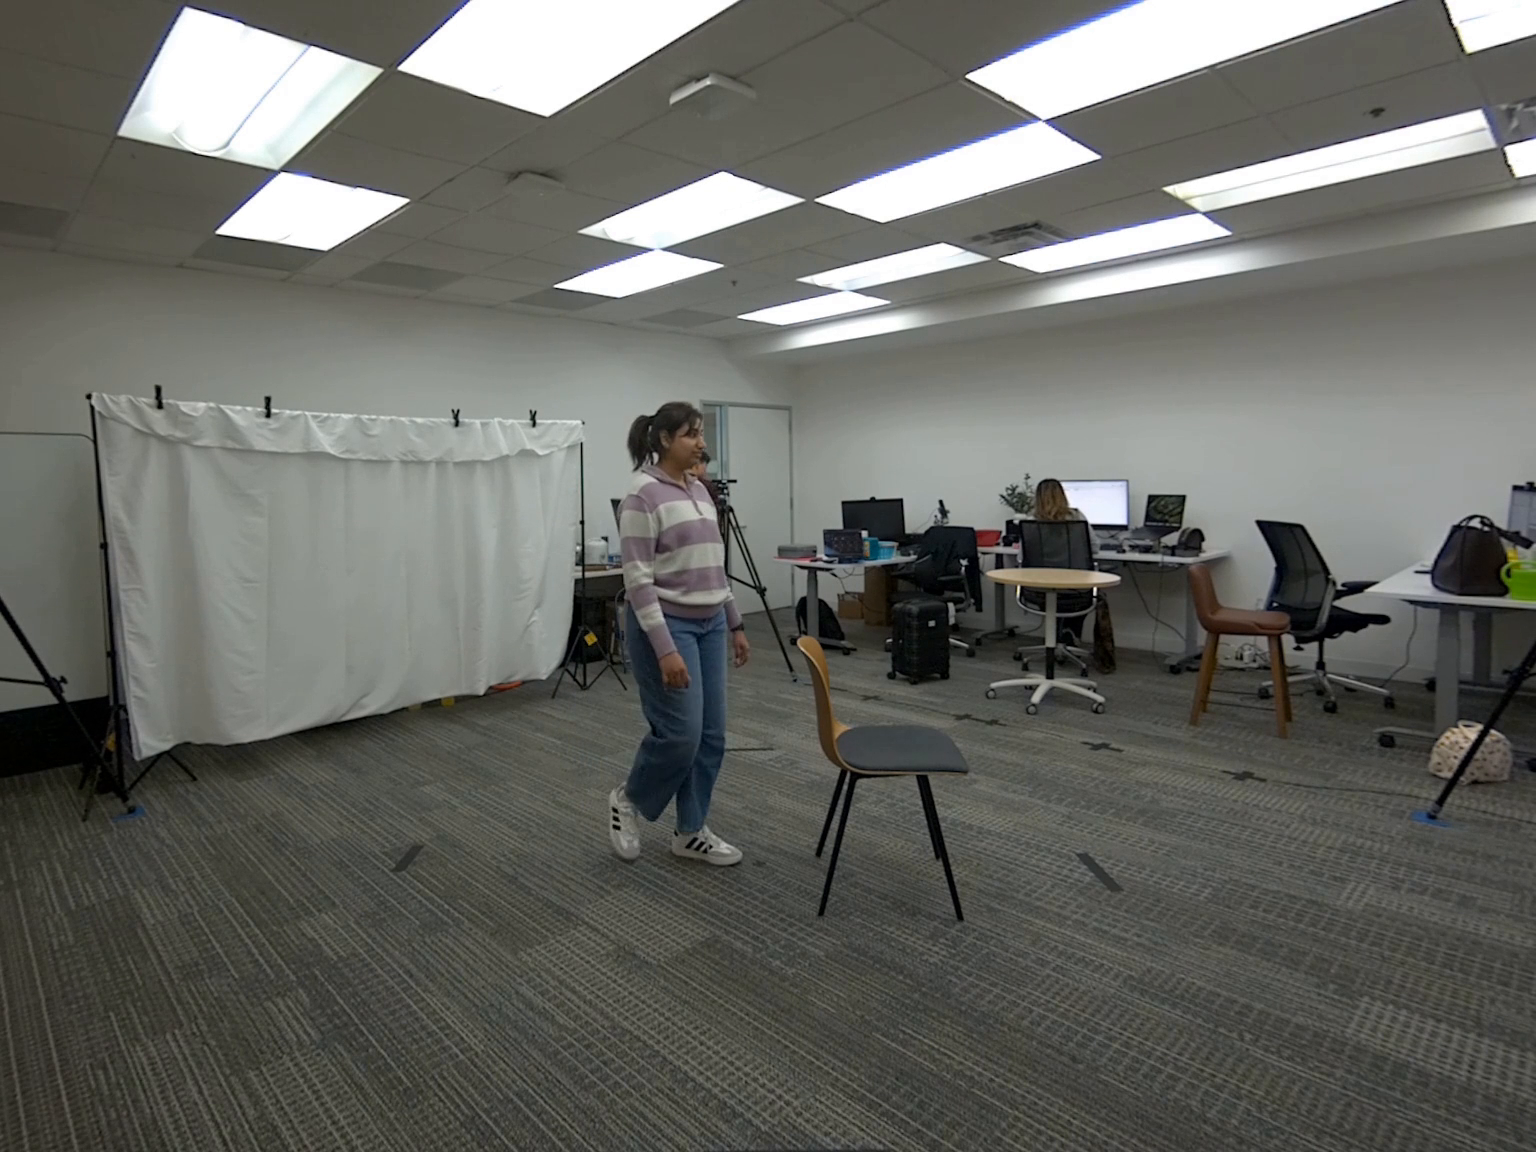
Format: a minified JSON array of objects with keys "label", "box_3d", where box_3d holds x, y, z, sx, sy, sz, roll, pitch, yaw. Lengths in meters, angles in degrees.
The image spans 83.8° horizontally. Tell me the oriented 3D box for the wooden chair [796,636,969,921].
[{"label":"wooden chair","box_3d":[0.400,0.634,2.897,0.525,0.875,0.477,-5,3,4]}]
